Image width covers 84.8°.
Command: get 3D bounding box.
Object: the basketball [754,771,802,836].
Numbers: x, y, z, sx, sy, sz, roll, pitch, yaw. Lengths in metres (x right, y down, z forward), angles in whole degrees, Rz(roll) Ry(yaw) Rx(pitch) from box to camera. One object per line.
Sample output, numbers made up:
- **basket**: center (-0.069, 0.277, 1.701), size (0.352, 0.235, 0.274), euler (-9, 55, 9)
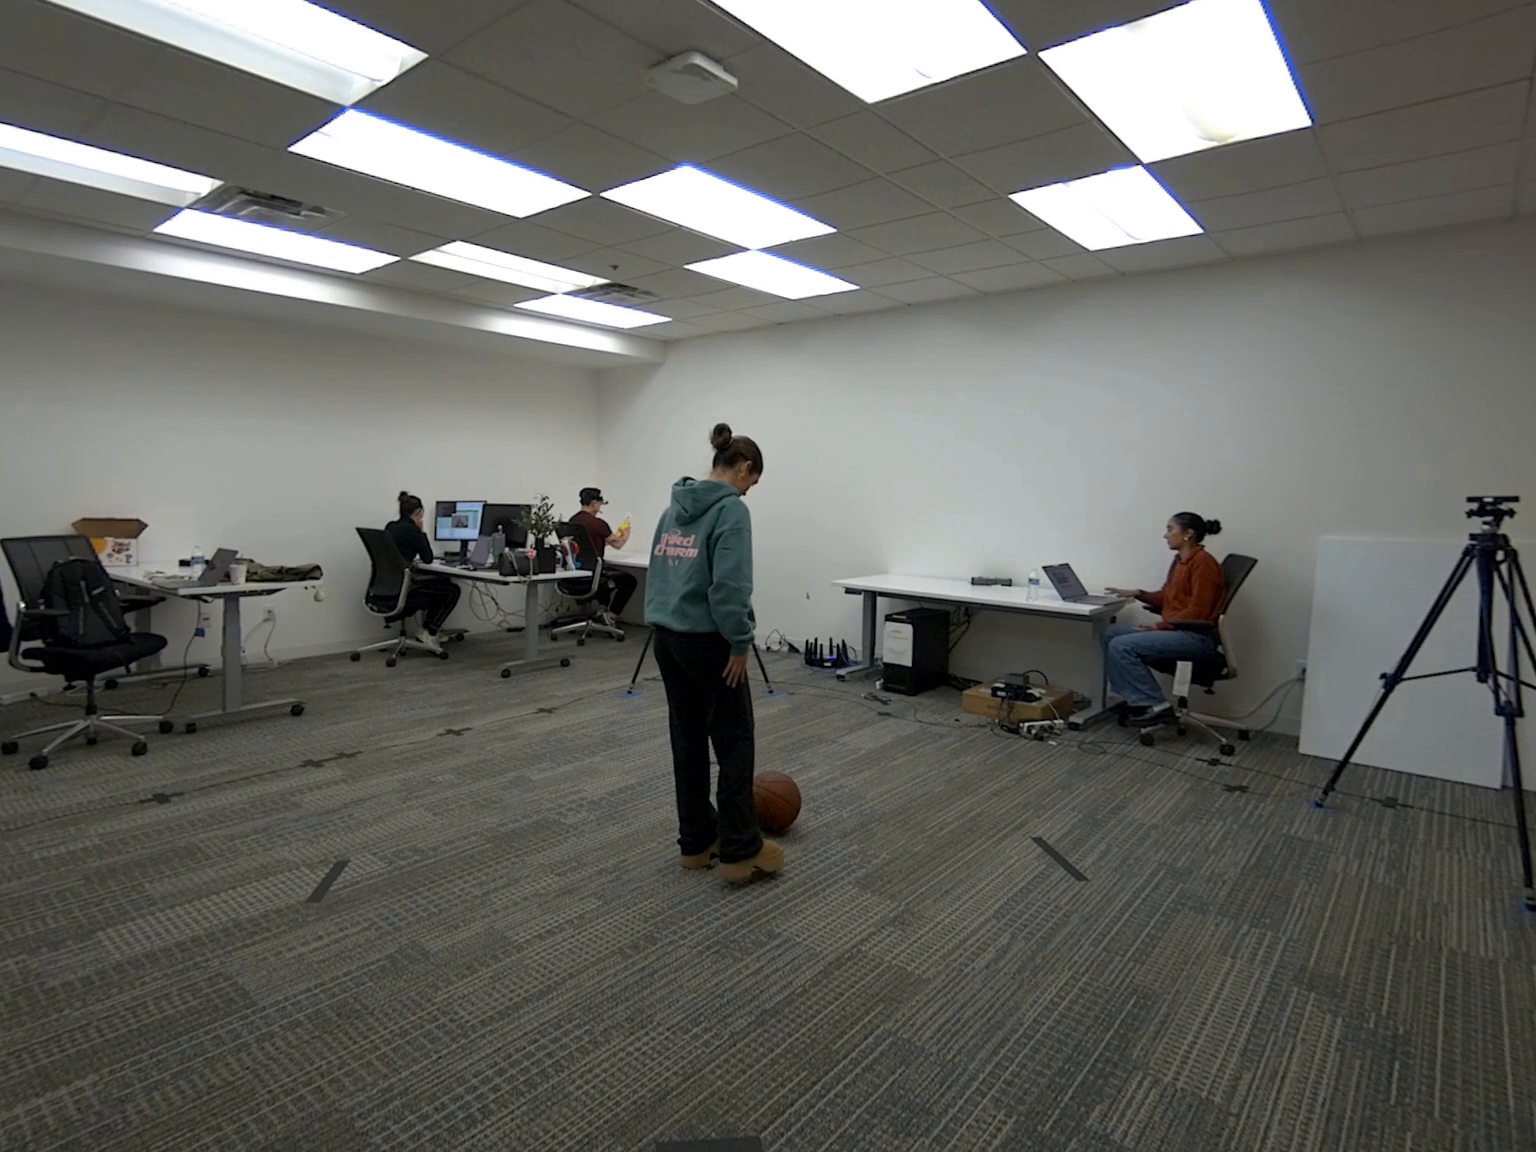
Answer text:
- **basketball**: center (0.006, 0.910, 3.470), size (0.236, 0.235, 0.237), euler (1, 4, -2)
